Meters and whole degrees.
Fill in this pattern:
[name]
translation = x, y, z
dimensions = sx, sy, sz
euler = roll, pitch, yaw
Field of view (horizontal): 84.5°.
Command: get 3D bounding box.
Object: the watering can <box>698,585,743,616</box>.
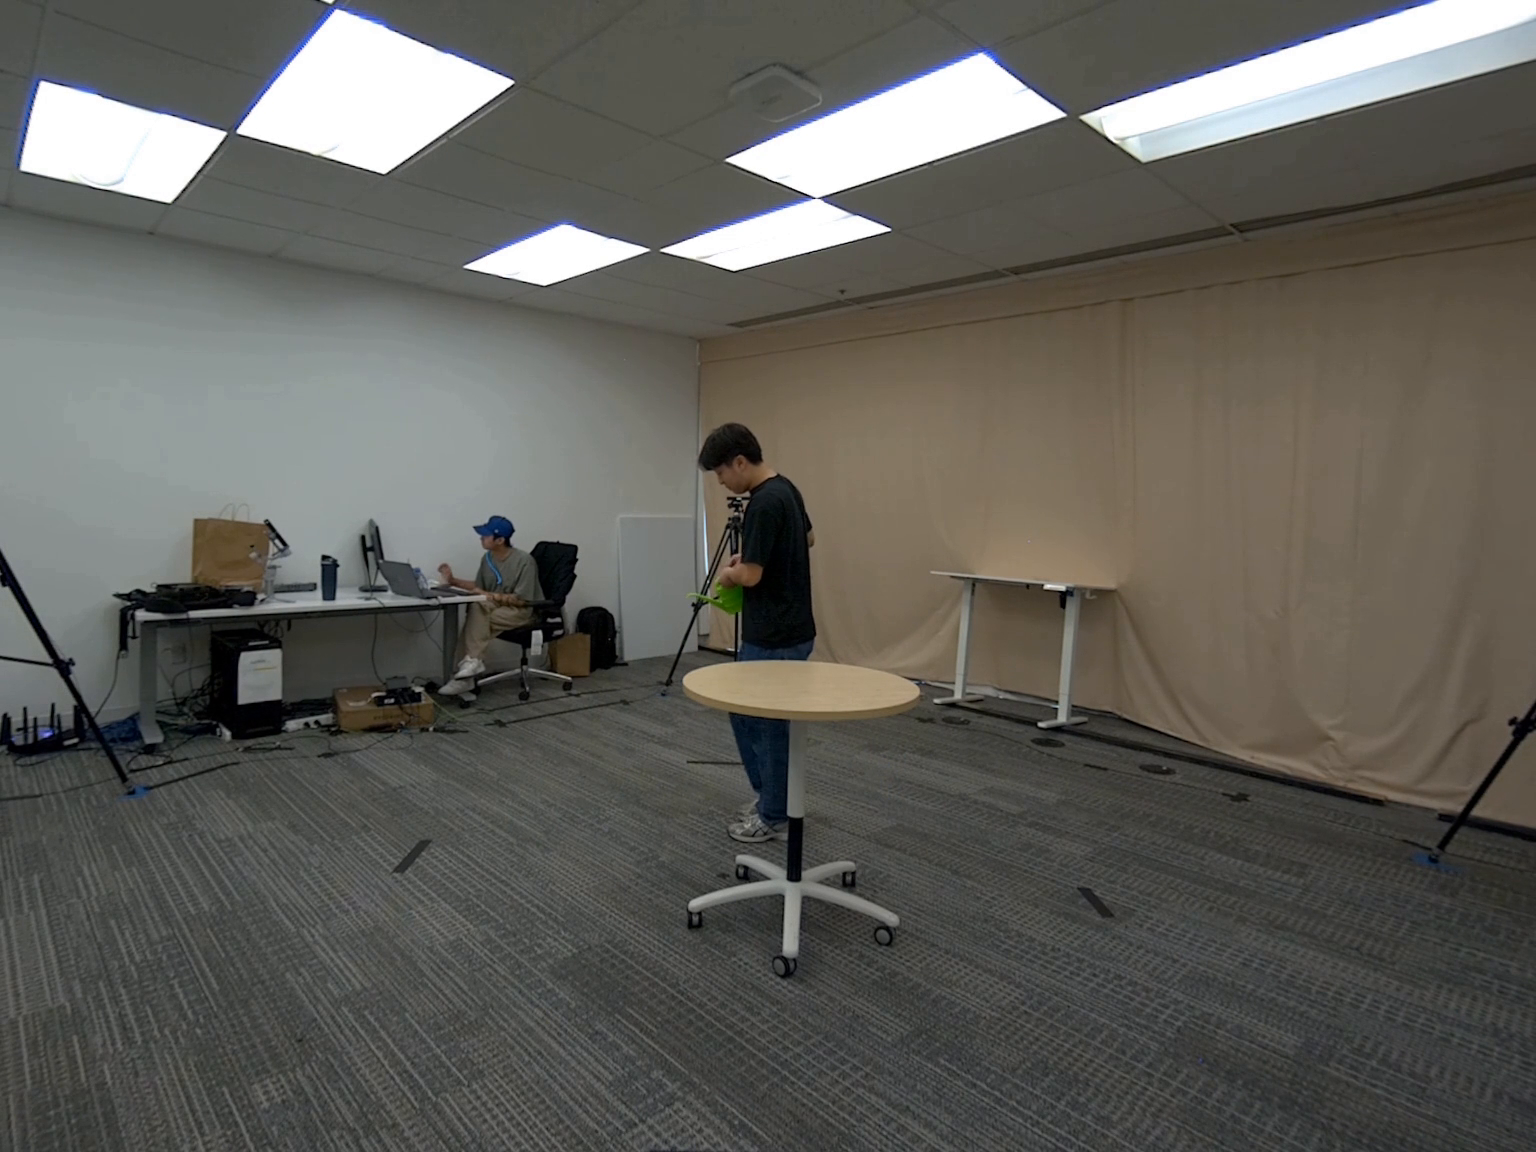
[watering can]
translation = -0.198, 0.086, 3.614
dimensions = 0.278, 0.173, 0.100
euler = -26, 21, 3
